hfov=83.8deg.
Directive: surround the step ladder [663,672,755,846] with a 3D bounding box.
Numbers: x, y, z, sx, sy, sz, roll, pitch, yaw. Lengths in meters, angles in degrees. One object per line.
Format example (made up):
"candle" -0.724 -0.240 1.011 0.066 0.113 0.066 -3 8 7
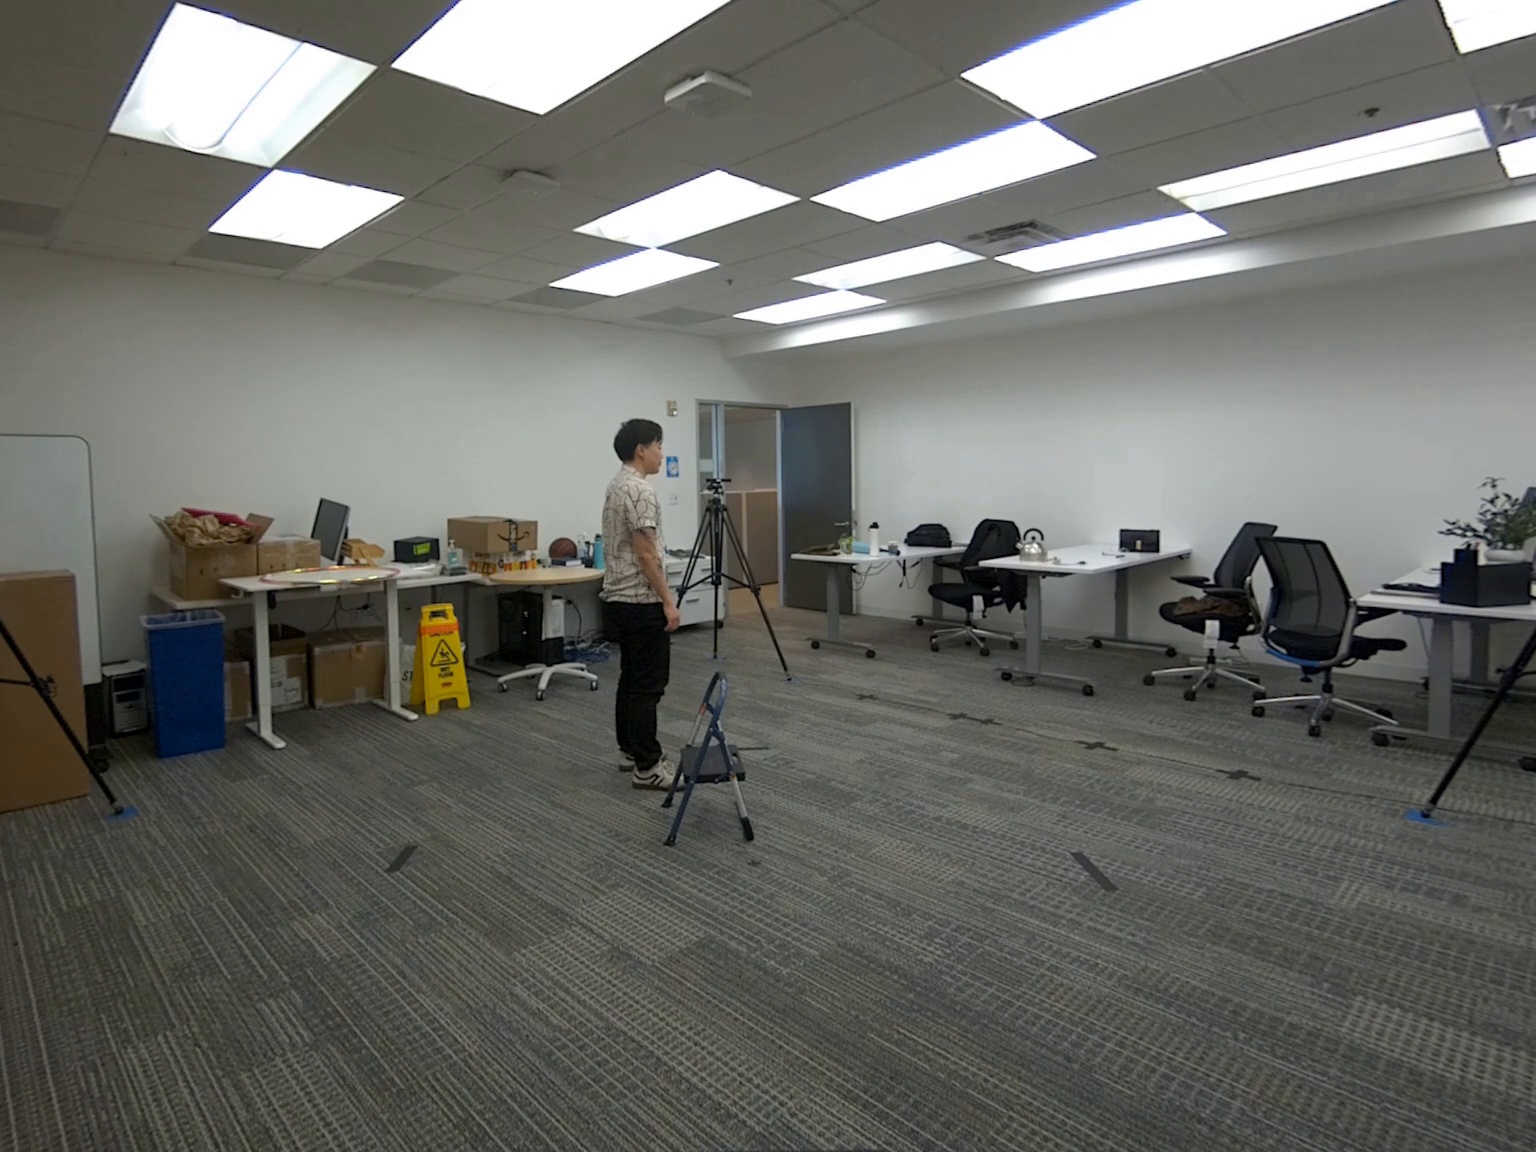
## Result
"step ladder" -0.252 0.707 3.466 0.347 0.604 0.435 -2 4 -7
